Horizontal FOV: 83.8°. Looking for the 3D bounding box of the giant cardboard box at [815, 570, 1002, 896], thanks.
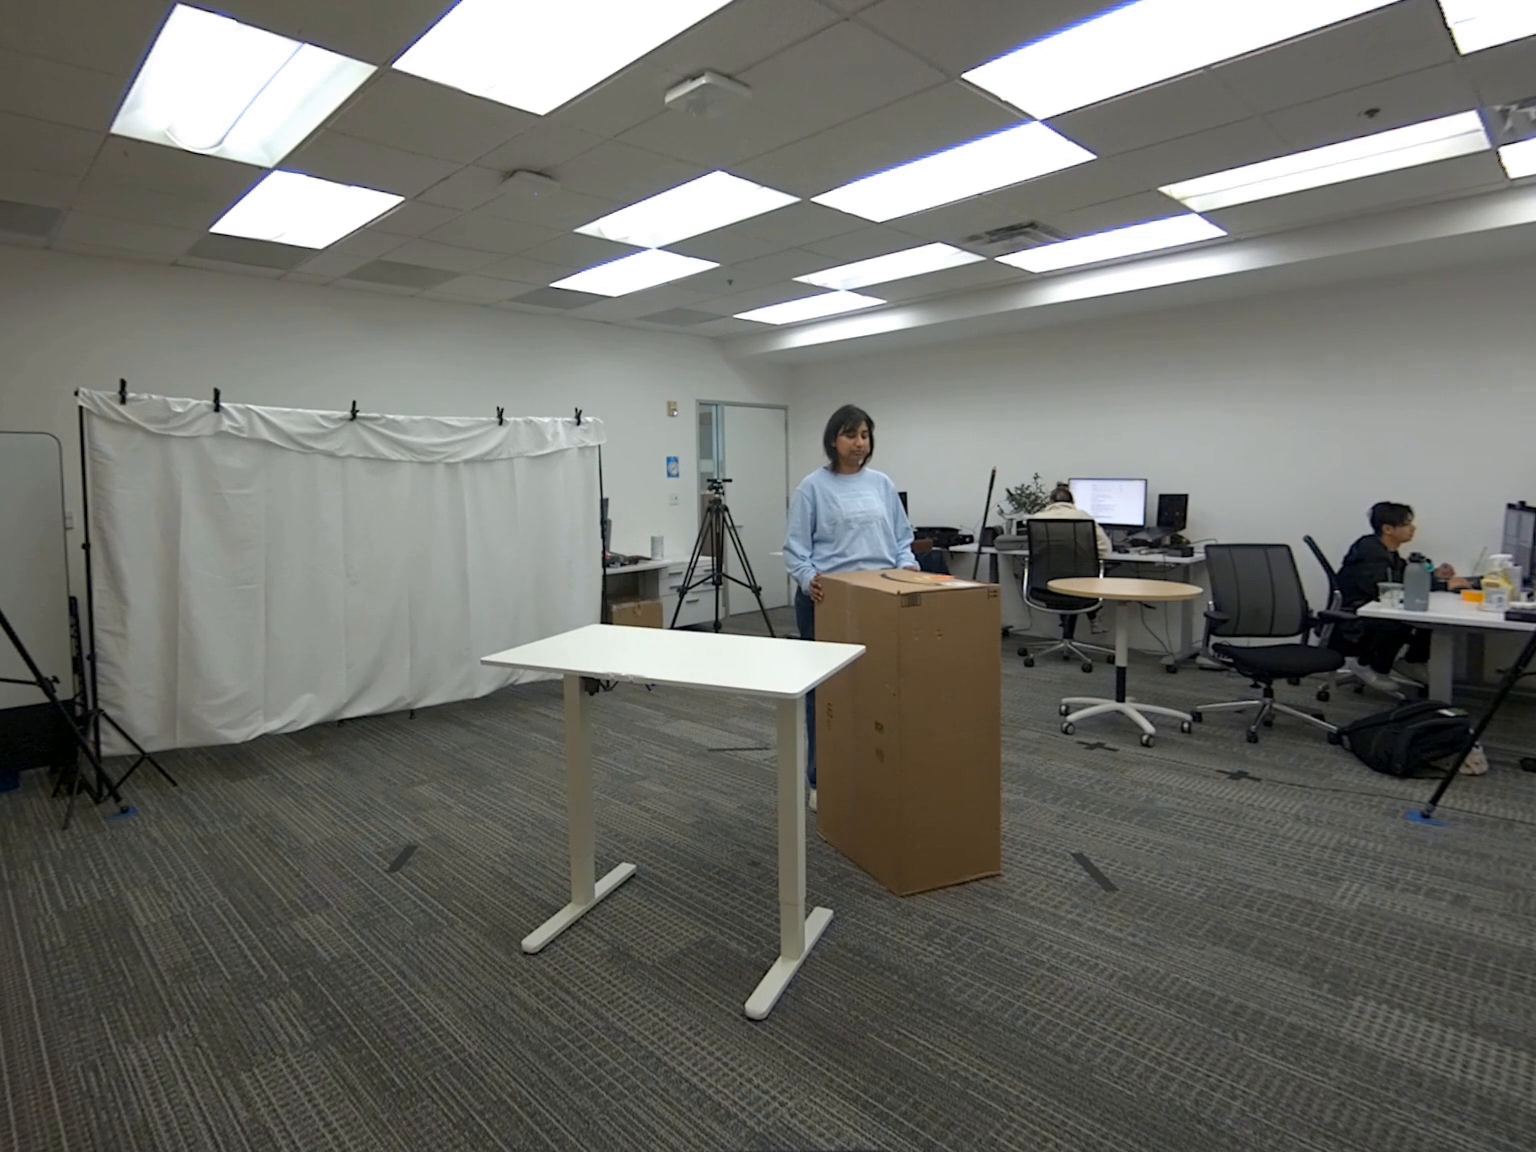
[{"bbox_3d":[0.501,0.527,3.139,0.417,1.022,0.591,-2,4,-24],"label":"giant cardboard box"}]
